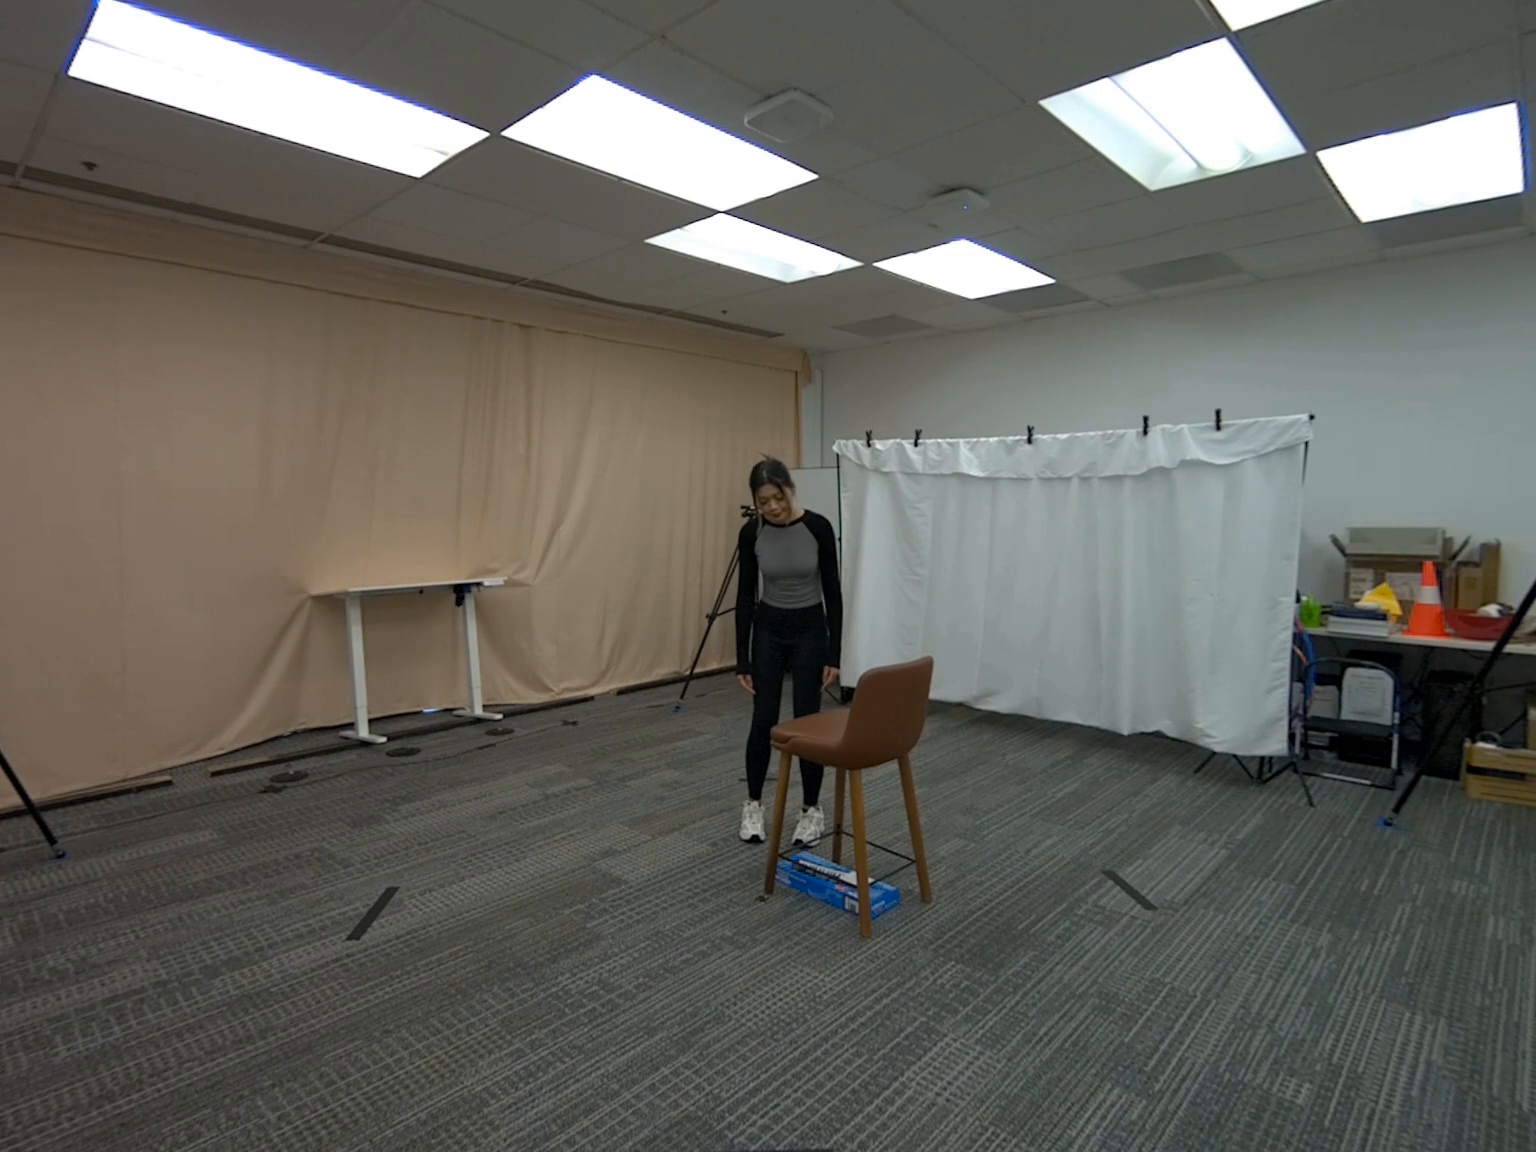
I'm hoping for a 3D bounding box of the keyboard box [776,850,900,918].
[{"bbox_3d":[0.245,1.111,3.036,0.170,0.059,0.451,-4,7,-45],"label":"keyboard box"}]
